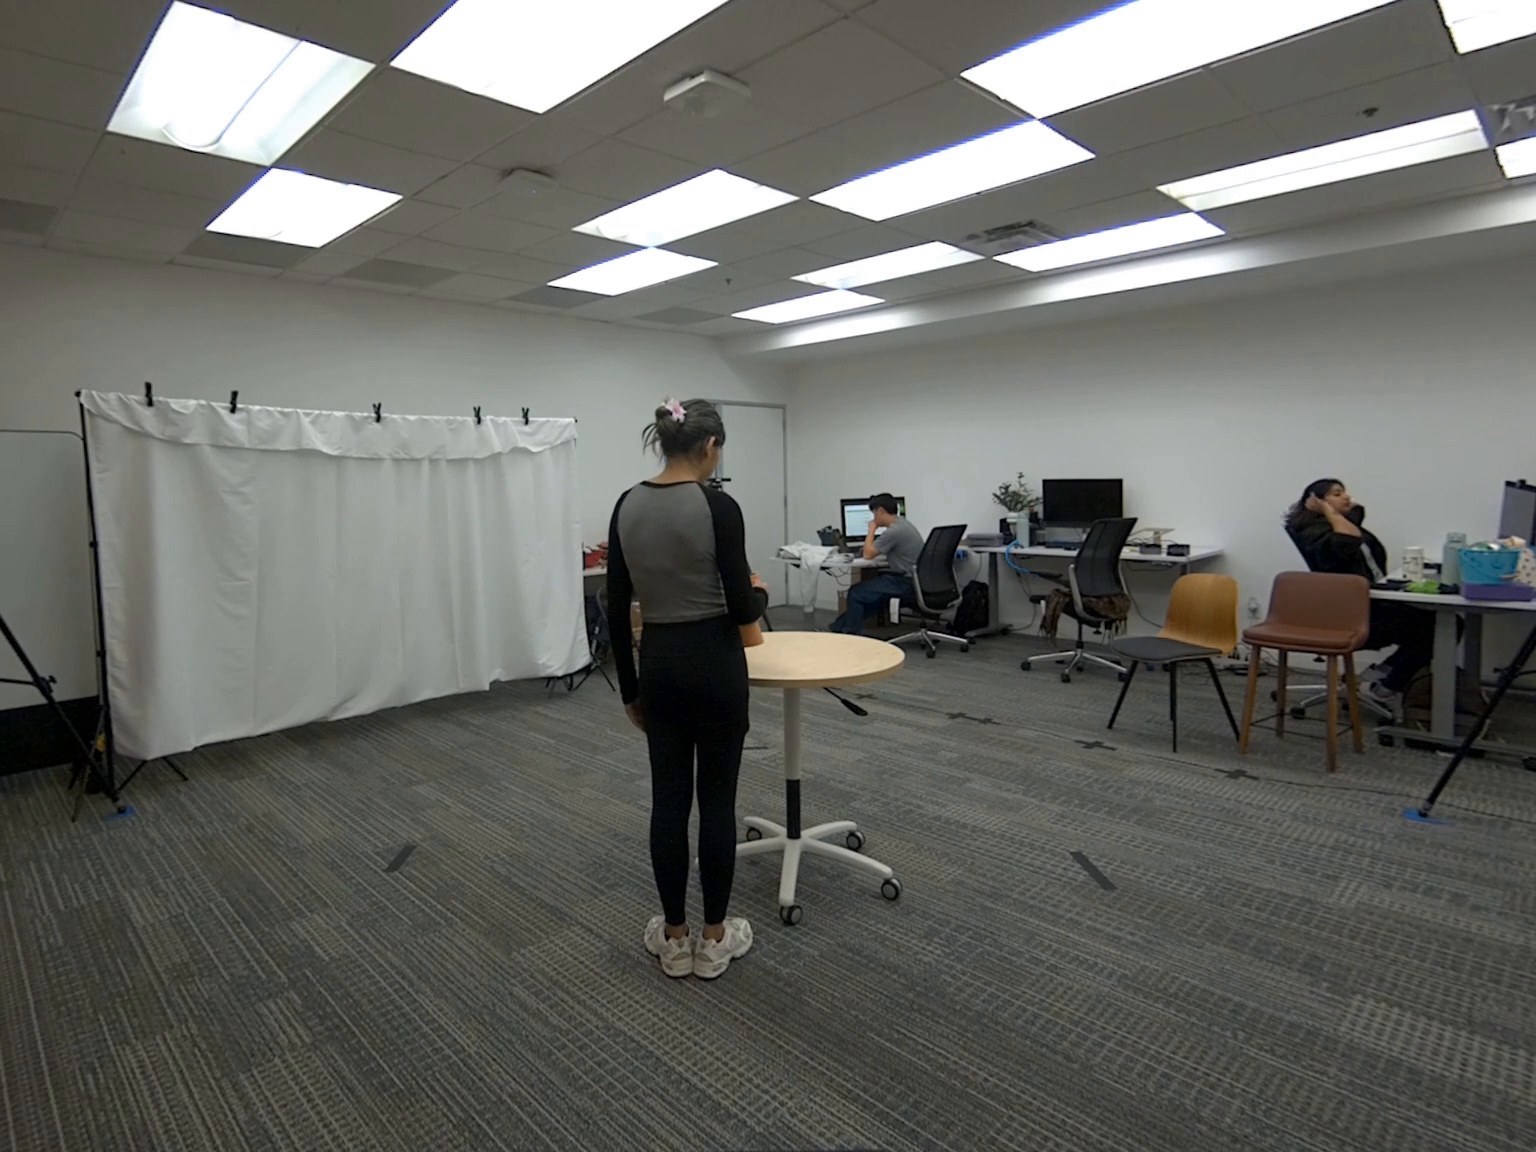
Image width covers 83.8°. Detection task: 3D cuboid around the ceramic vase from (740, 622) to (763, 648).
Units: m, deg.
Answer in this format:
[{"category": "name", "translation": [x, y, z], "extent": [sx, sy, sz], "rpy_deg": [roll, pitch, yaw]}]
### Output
[{"category": "ceramic vase", "translation": [-0.087, 0.114, 2.698], "extent": [0.134, 0.219, 0.159], "rpy_deg": [-7, 3, -3]}]
